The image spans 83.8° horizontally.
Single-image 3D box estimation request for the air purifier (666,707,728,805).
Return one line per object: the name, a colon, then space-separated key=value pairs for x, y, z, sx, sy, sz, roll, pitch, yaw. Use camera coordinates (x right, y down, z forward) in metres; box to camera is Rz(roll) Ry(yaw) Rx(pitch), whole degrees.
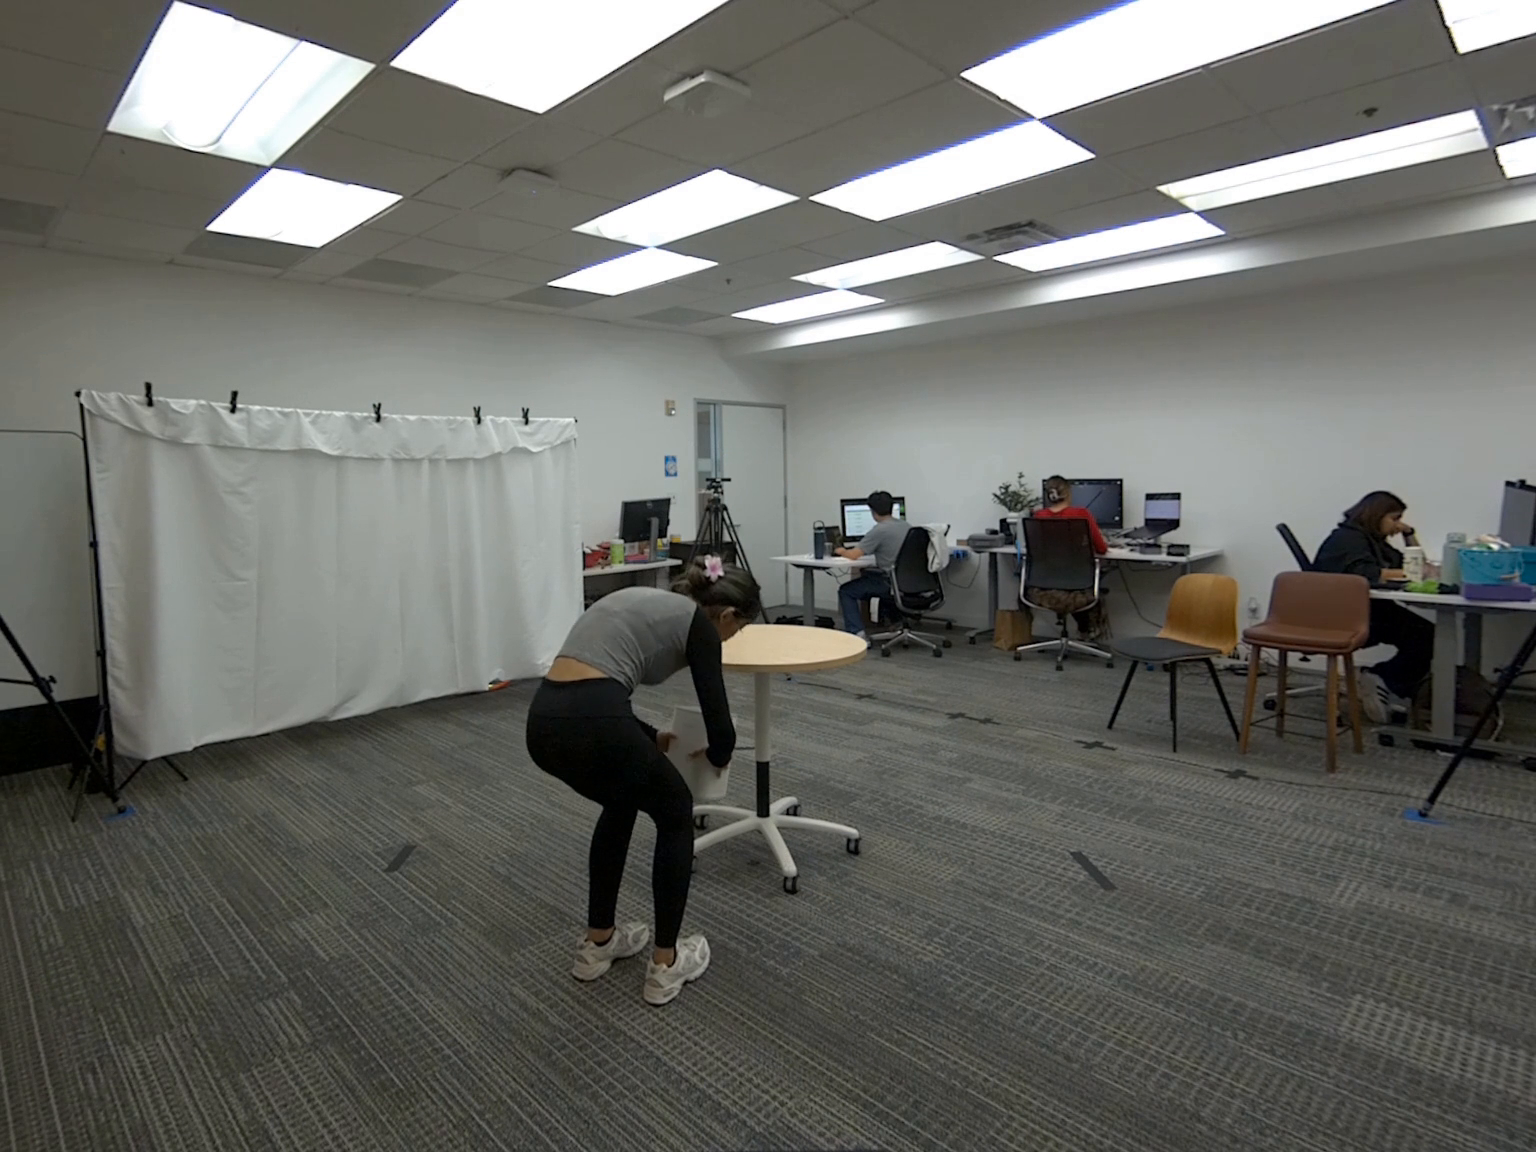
air purifier: x=-0.198 y=0.550 z=2.606 sx=0.175 sy=0.266 sz=0.166 roll=6 pitch=-7 yaw=26
